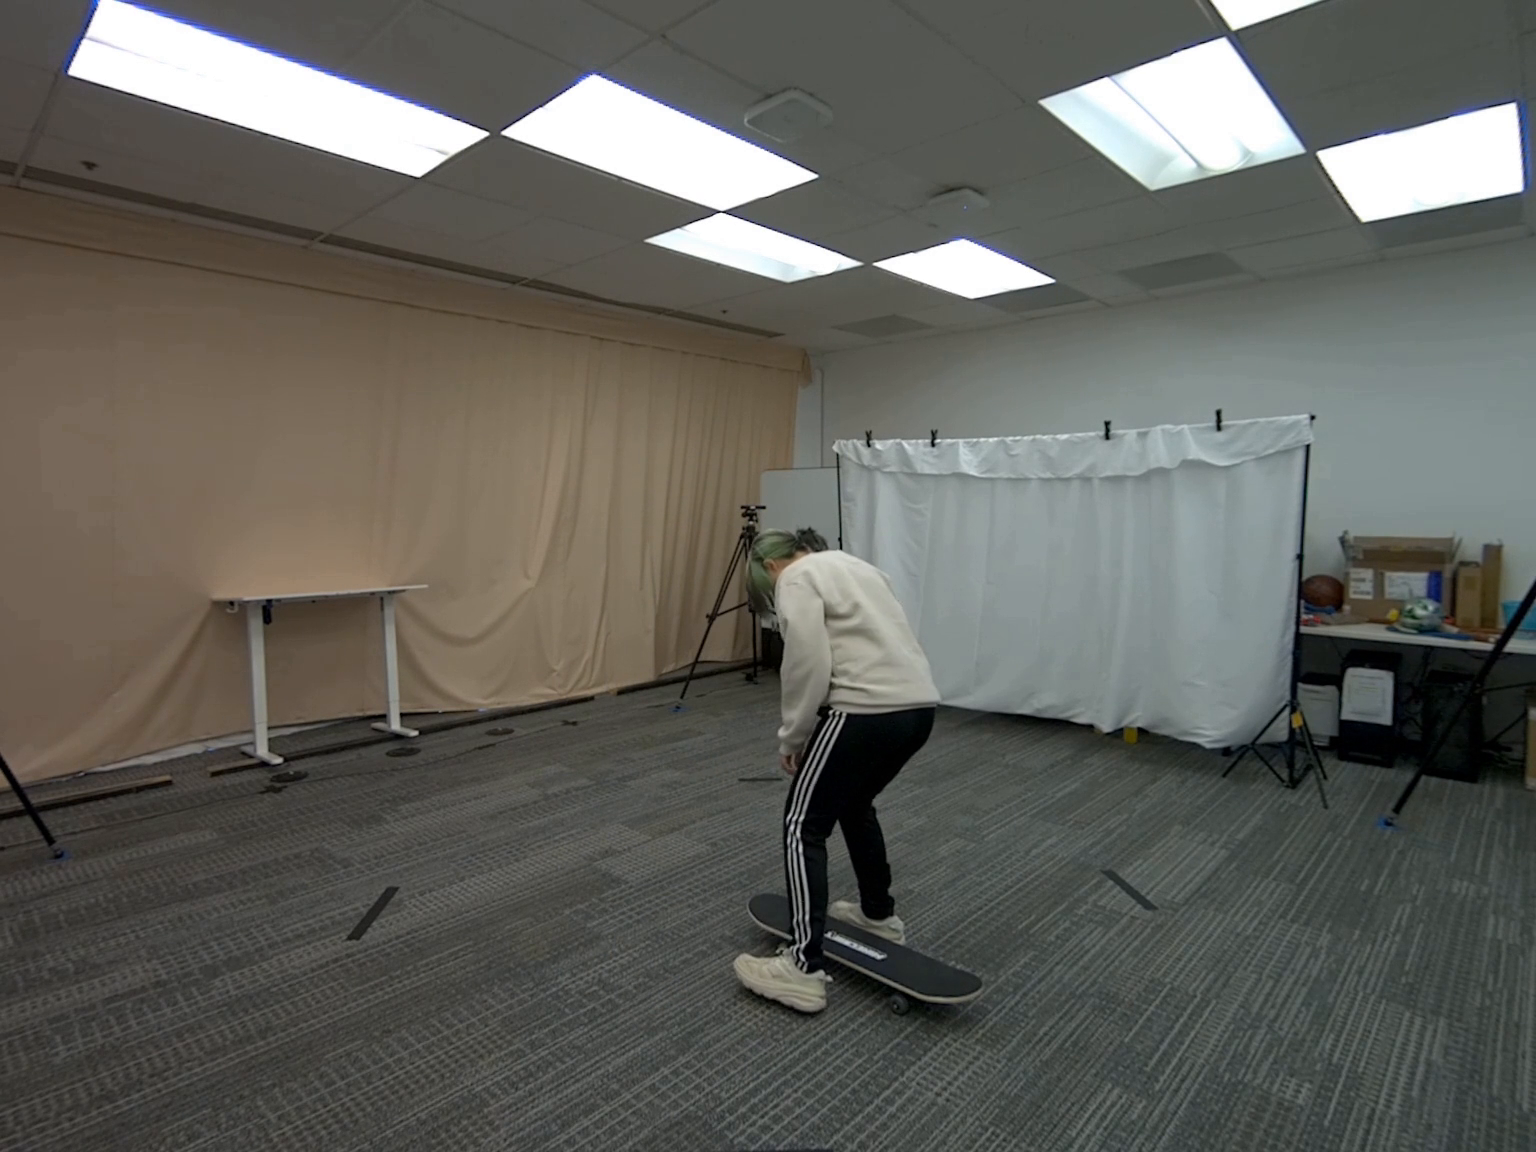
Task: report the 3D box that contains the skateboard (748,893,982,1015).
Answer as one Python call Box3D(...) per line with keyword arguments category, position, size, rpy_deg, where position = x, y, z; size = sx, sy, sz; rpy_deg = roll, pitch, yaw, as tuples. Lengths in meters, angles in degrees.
Box3D(category="skateboard", position=(0.257, 1.122, 2.503), size=(0.812, 0.110, 0.187), rpy_deg=(4, 4, 41))
